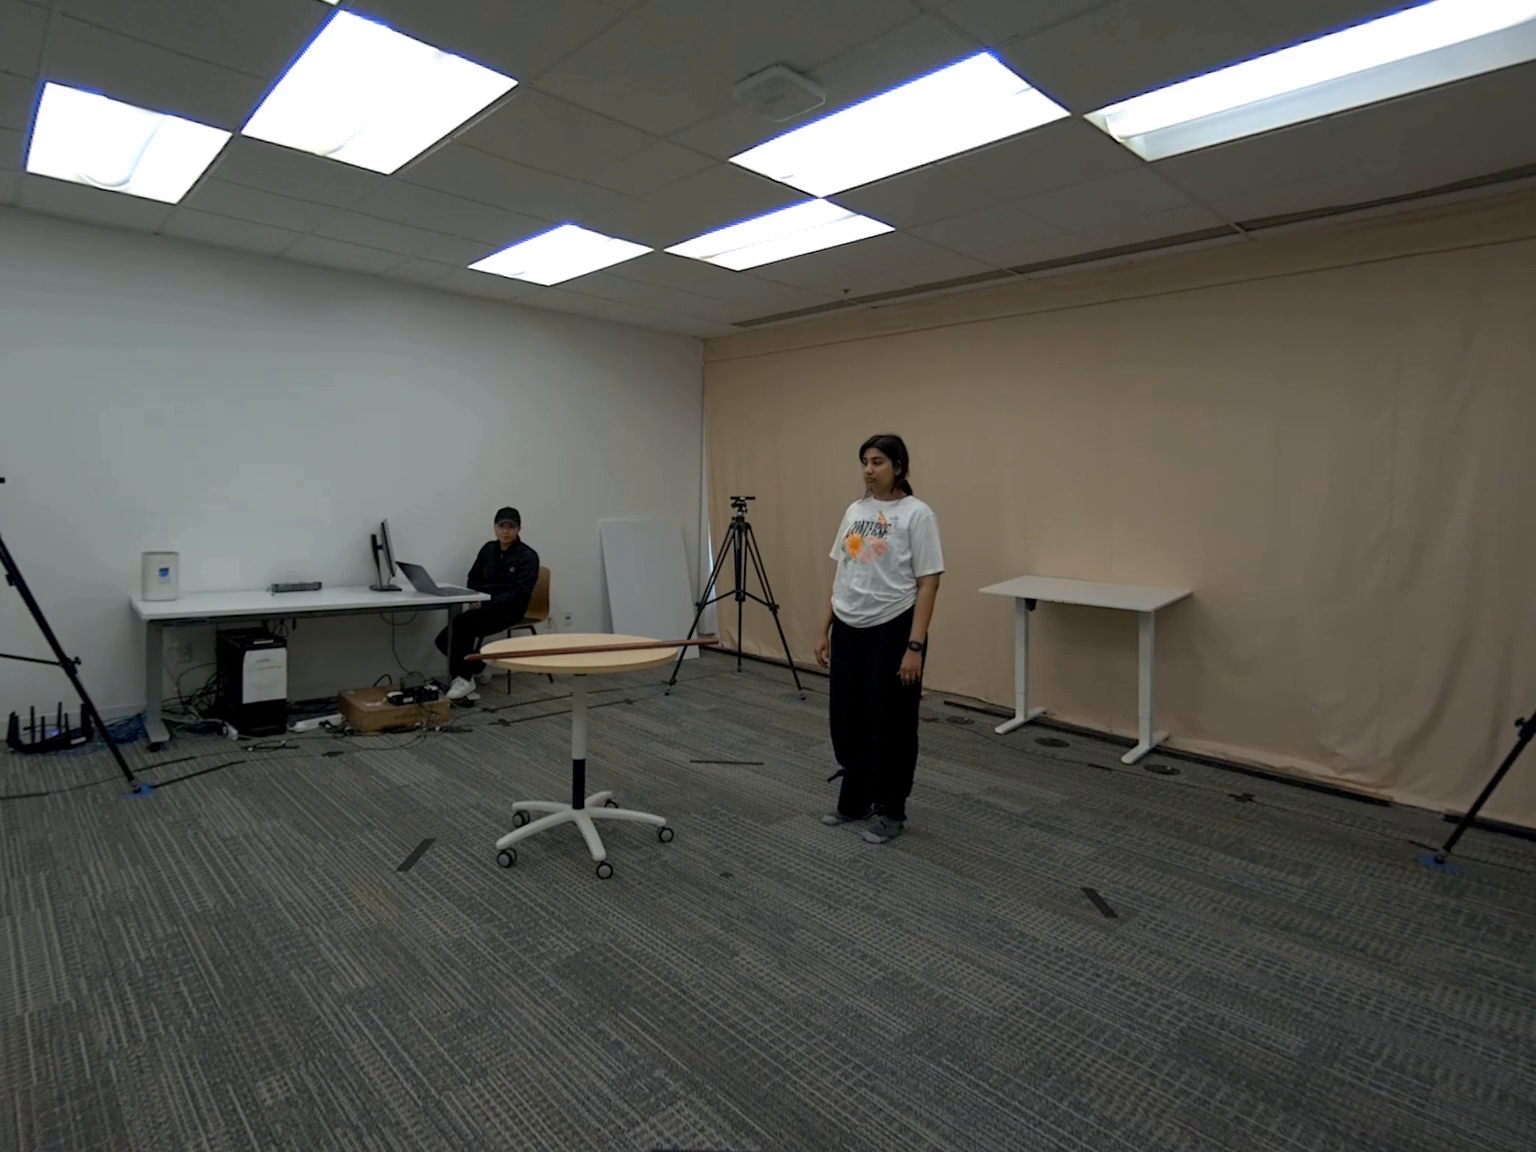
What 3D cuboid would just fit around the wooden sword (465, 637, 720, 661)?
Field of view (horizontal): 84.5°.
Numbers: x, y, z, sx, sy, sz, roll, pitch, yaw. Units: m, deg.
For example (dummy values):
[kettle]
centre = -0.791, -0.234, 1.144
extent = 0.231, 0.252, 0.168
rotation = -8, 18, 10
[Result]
[wooden sword]
centre = -0.625, 0.286, 3.237
extent = 1.004, 0.024, 0.053
rotation = 0, 23, -29
